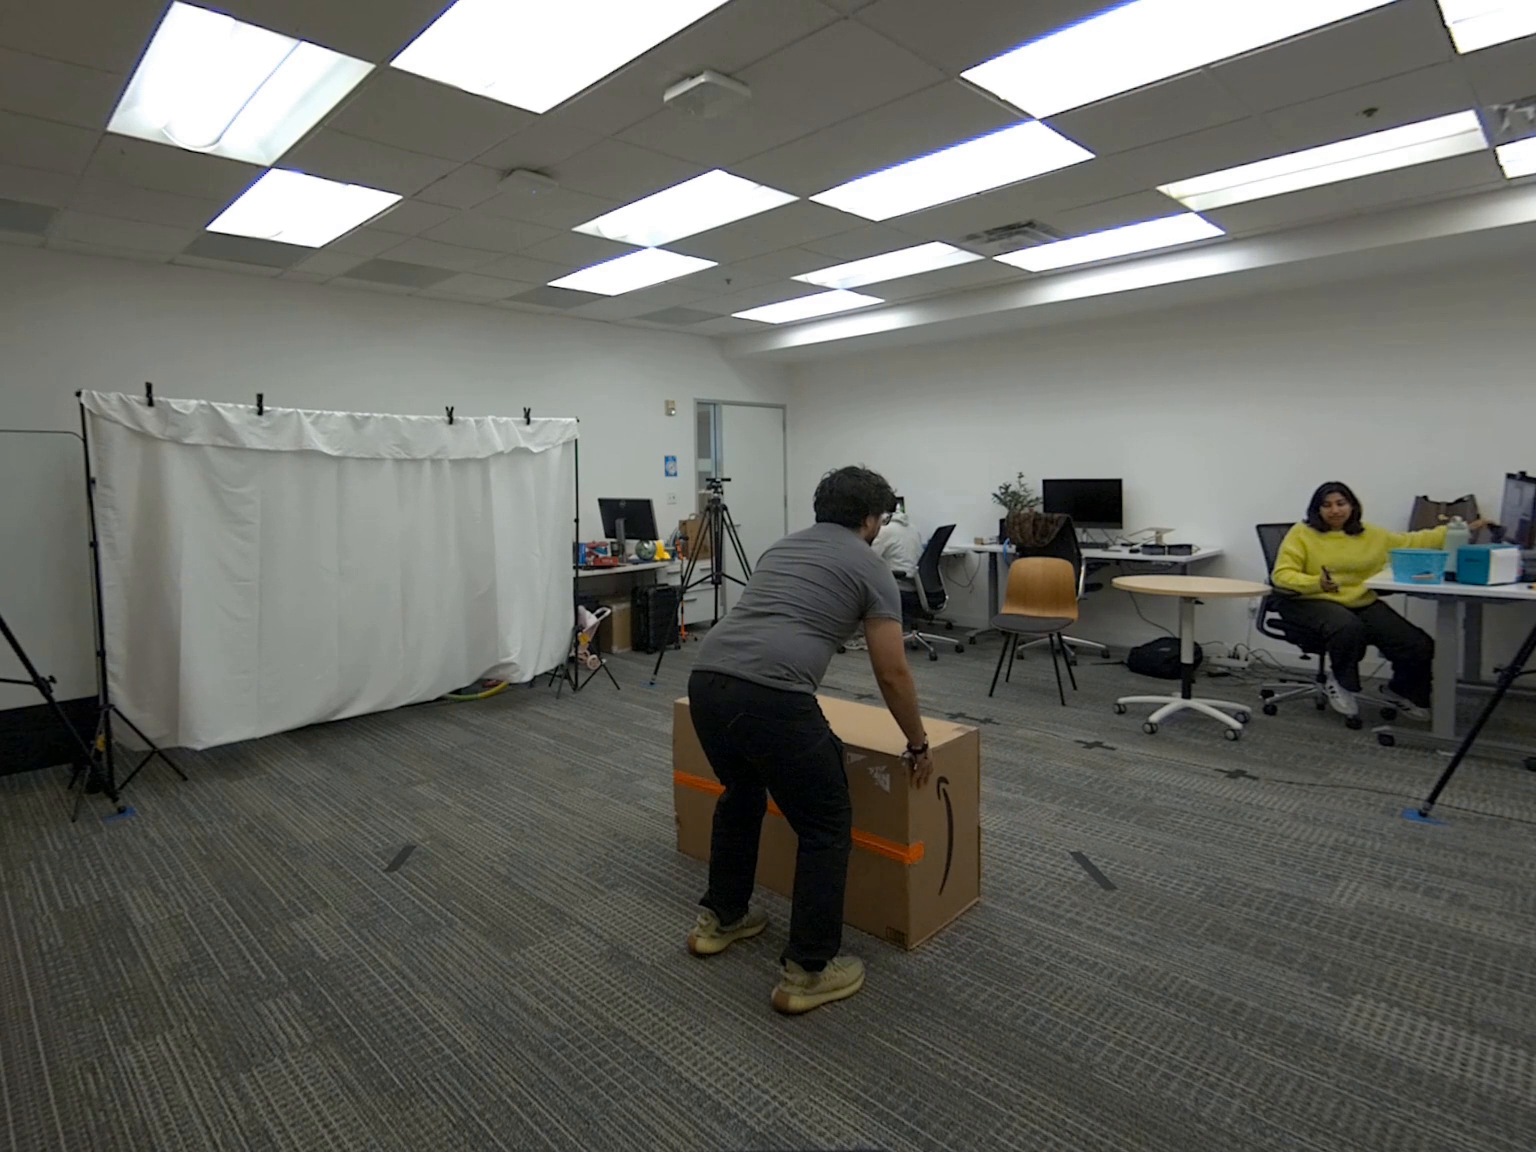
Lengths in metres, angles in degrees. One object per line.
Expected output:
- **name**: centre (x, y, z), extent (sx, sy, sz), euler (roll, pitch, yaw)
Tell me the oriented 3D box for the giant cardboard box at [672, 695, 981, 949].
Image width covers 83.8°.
- **giant cardboard box**: centre (0.172, 0.765, 2.998), extent (1.057, 0.575, 0.415), euler (4, 7, 43)
